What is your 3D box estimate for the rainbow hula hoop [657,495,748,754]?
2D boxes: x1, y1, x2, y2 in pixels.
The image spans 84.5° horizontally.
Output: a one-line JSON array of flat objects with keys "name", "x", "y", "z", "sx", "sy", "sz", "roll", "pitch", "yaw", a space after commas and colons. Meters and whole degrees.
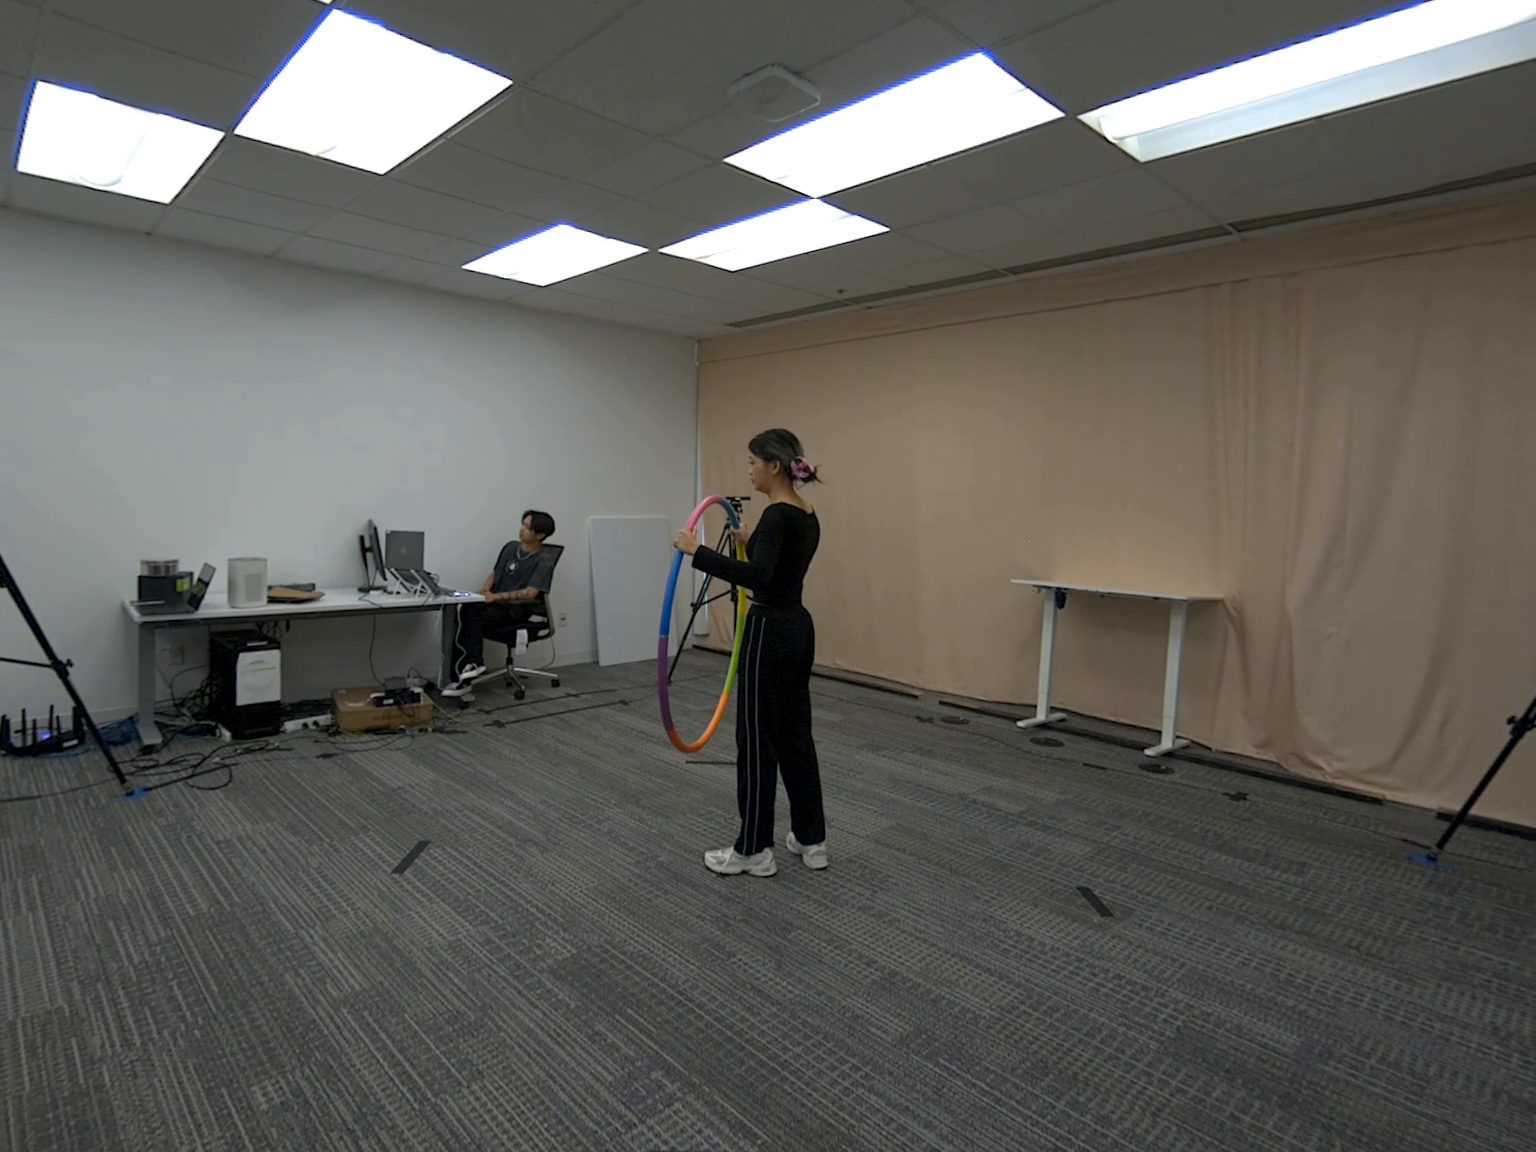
[{"name": "rainbow hula hoop", "x": -0.239, "y": 0.185, "z": 3.272, "sx": 0.036, "sy": 0.975, "sz": 0.968, "roll": 6, "pitch": 5, "yaw": 14}]
